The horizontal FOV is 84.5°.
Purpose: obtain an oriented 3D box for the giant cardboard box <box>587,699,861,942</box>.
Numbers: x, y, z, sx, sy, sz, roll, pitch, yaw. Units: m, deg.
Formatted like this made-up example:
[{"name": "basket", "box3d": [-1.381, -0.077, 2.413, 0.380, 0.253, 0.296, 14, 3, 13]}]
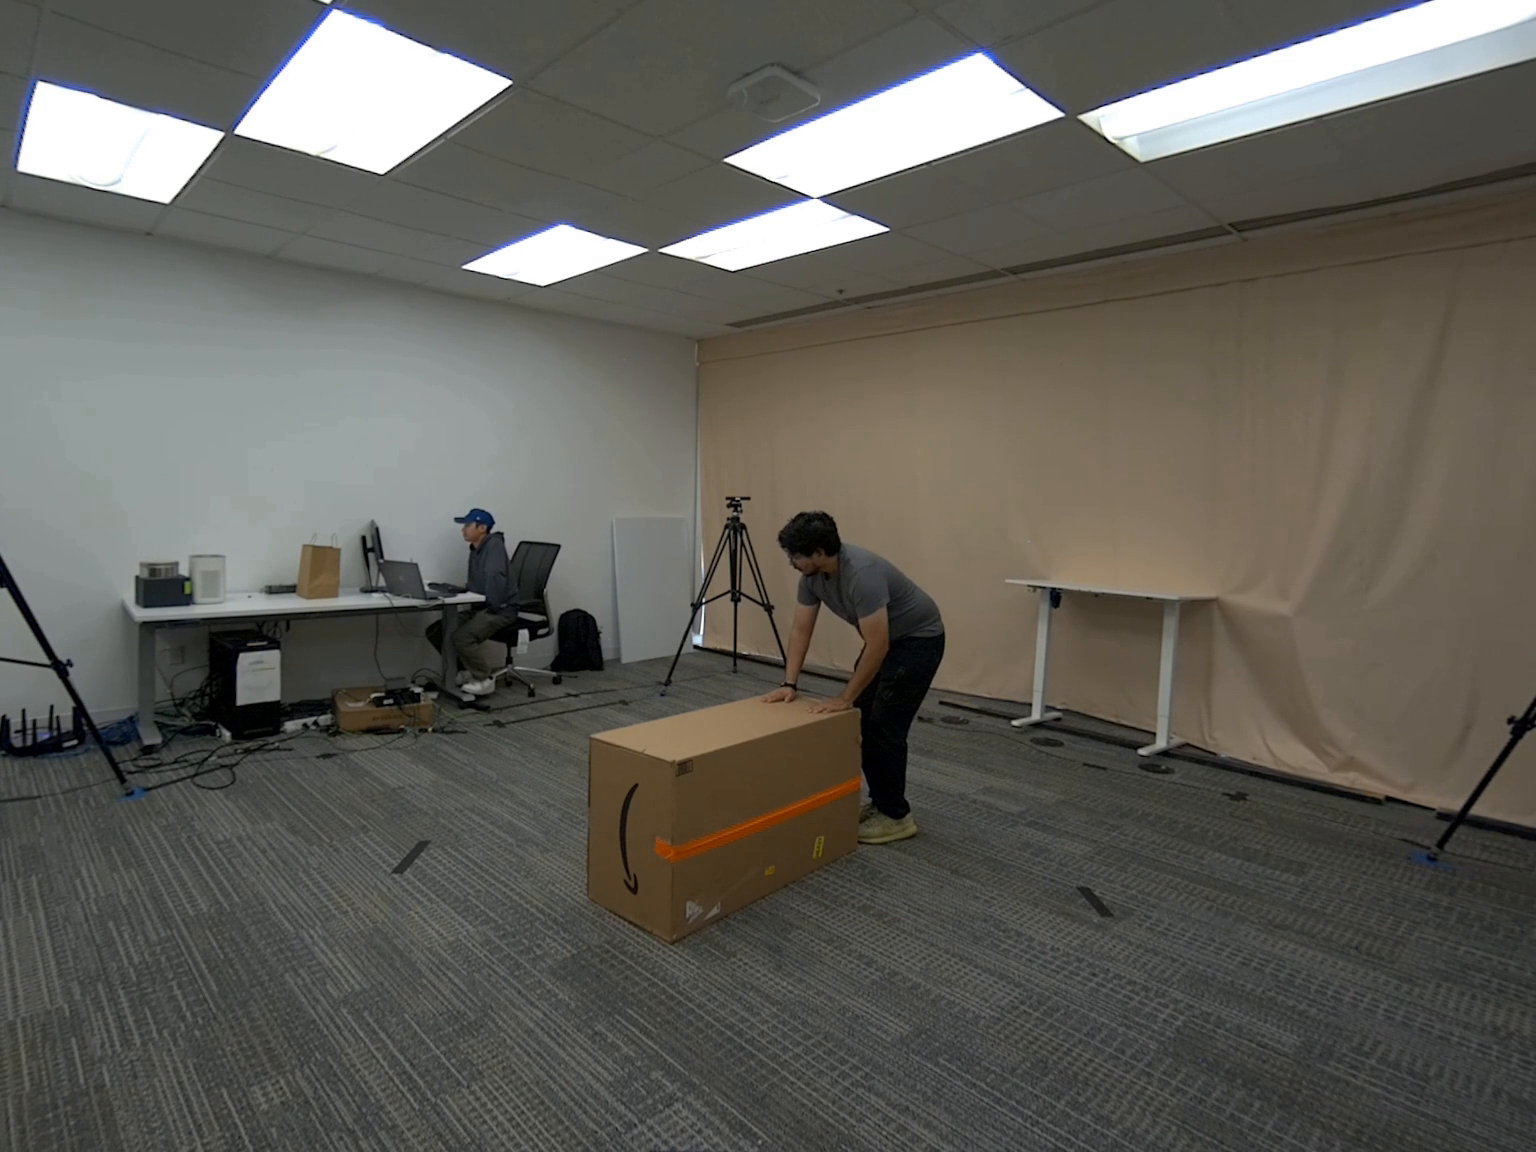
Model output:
[{"name": "giant cardboard box", "box3d": [-0.131, 0.817, 3.105, 0.437, 0.576, 1.003, 5, 6, 41]}]
